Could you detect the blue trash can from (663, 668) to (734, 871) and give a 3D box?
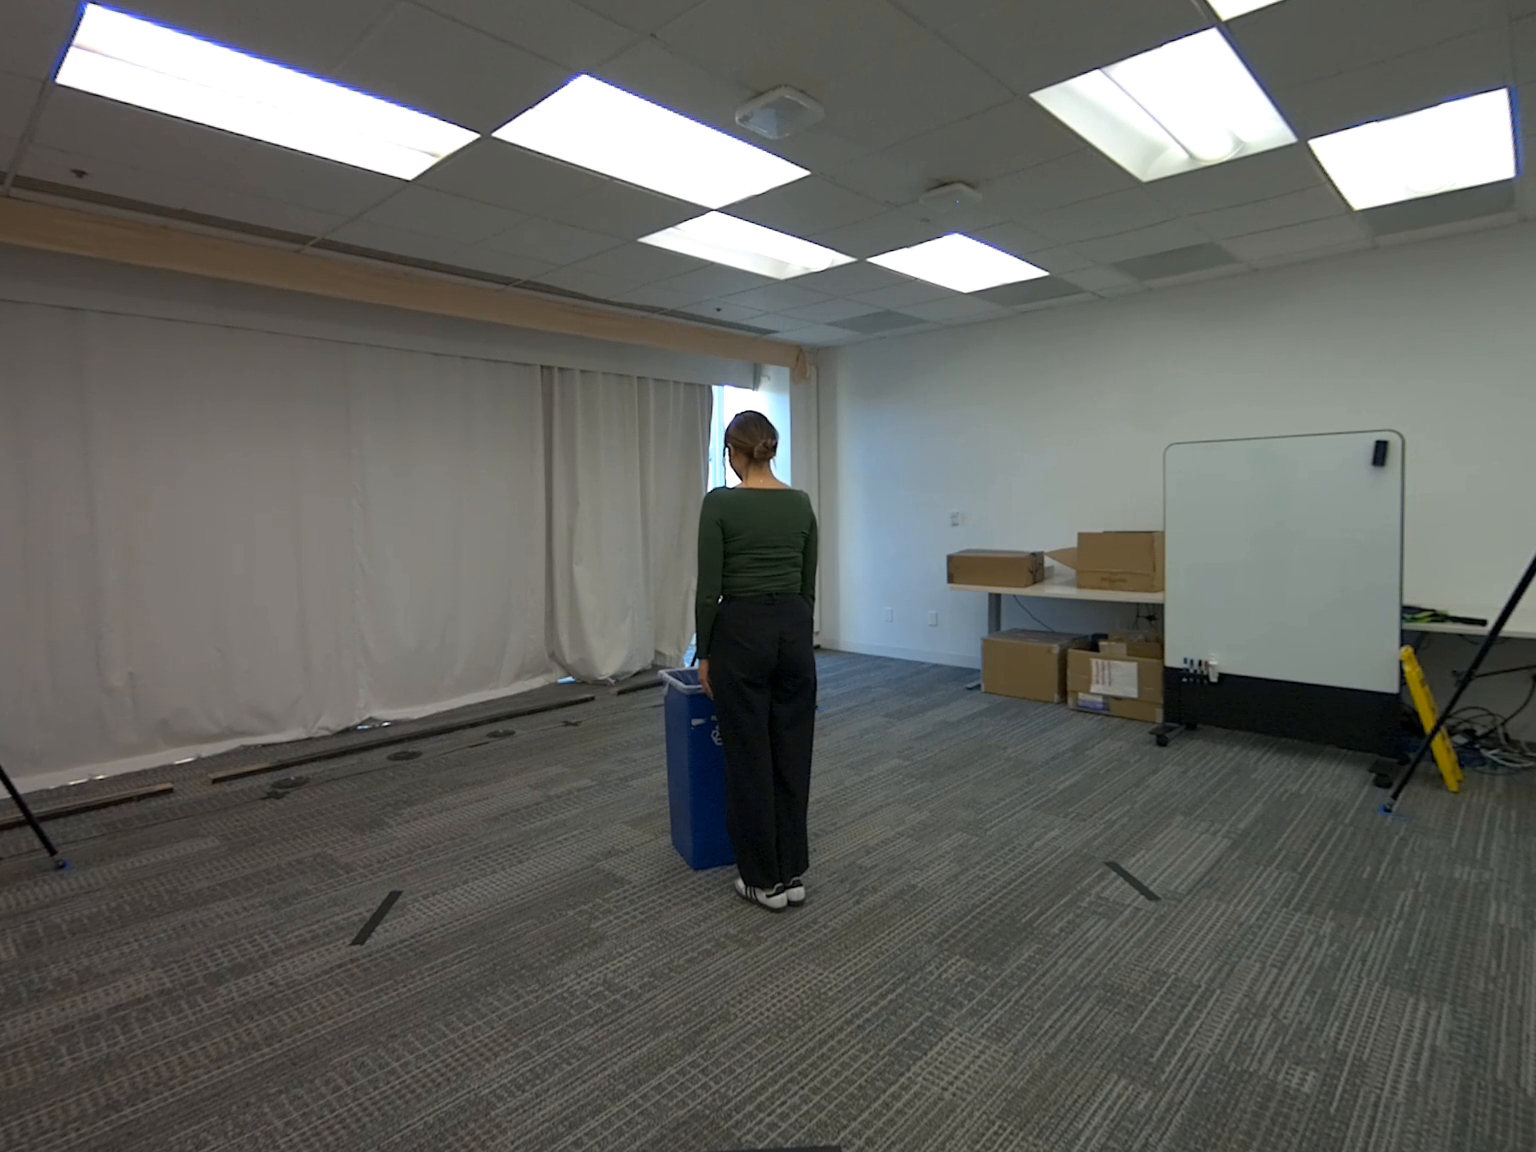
[{"bbox_3d":[-0.215,0.746,3.374,0.370,0.712,0.383,-2,4,-22],"label":"blue trash can"}]
